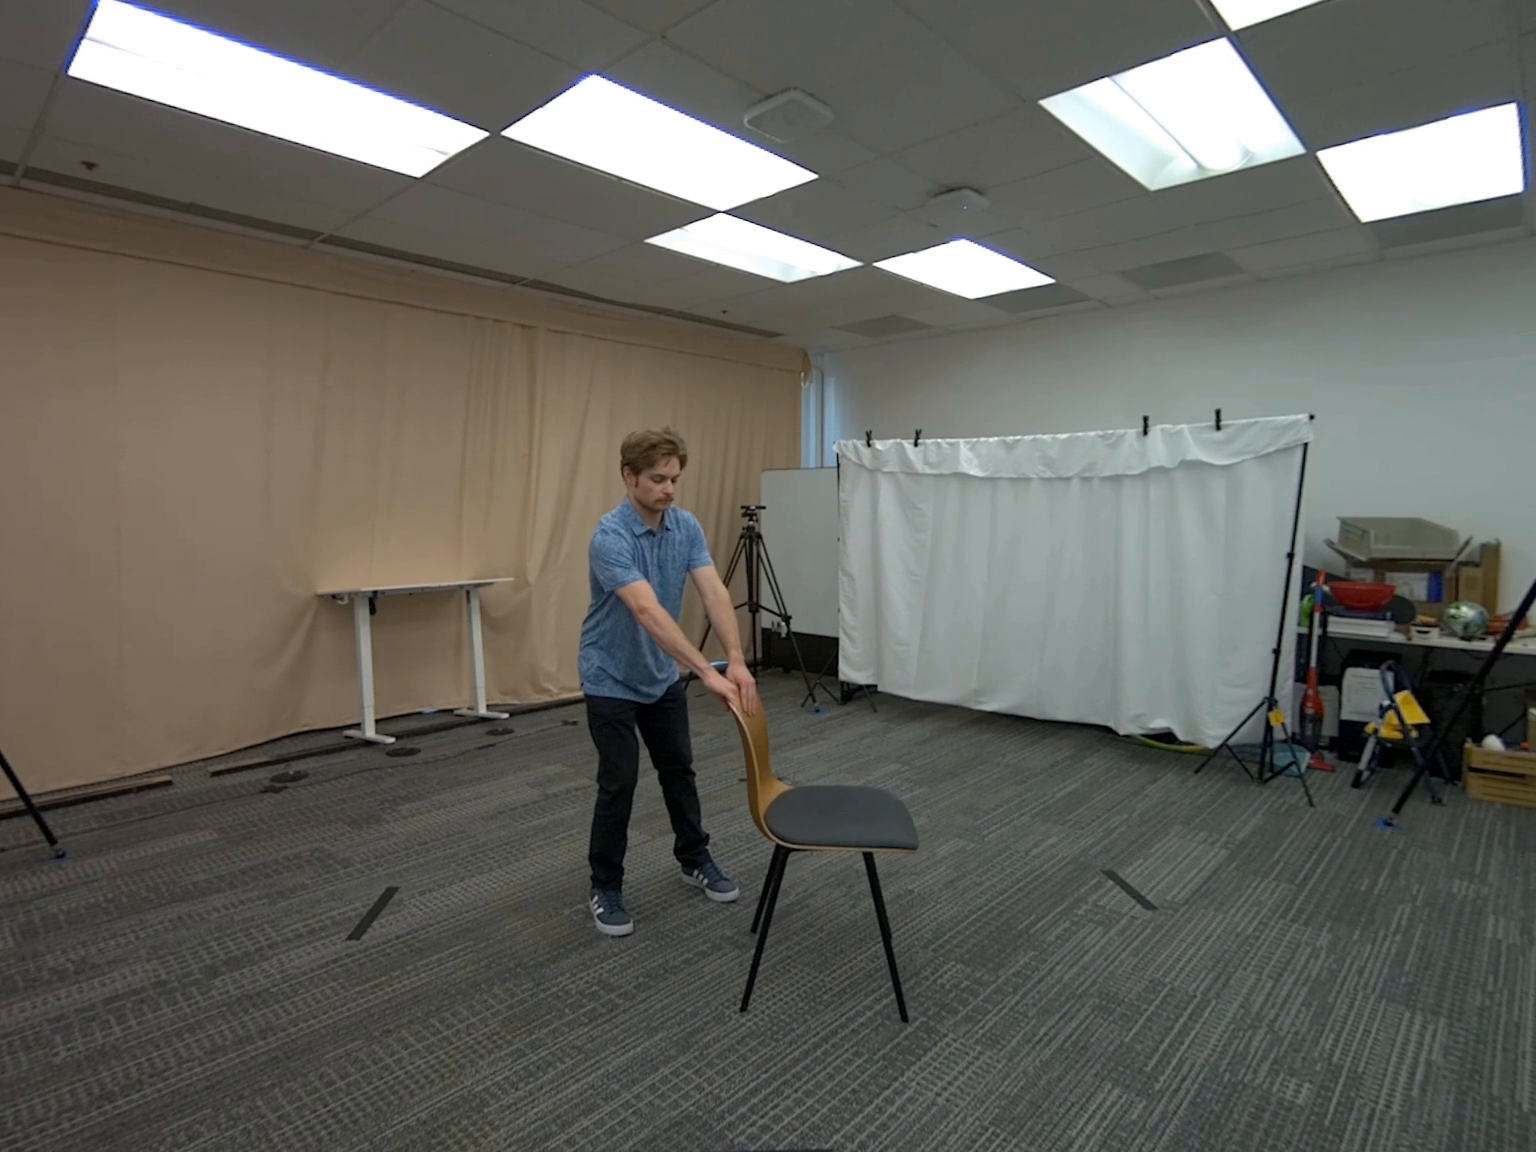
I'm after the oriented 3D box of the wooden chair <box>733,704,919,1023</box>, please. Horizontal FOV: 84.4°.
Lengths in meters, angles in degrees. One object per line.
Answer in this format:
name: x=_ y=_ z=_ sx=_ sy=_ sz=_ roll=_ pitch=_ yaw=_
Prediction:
wooden chair: x=0.175 y=0.759 z=2.482 sx=0.526 sy=0.876 sz=0.476 roll=-4 pitch=3 yaw=4
